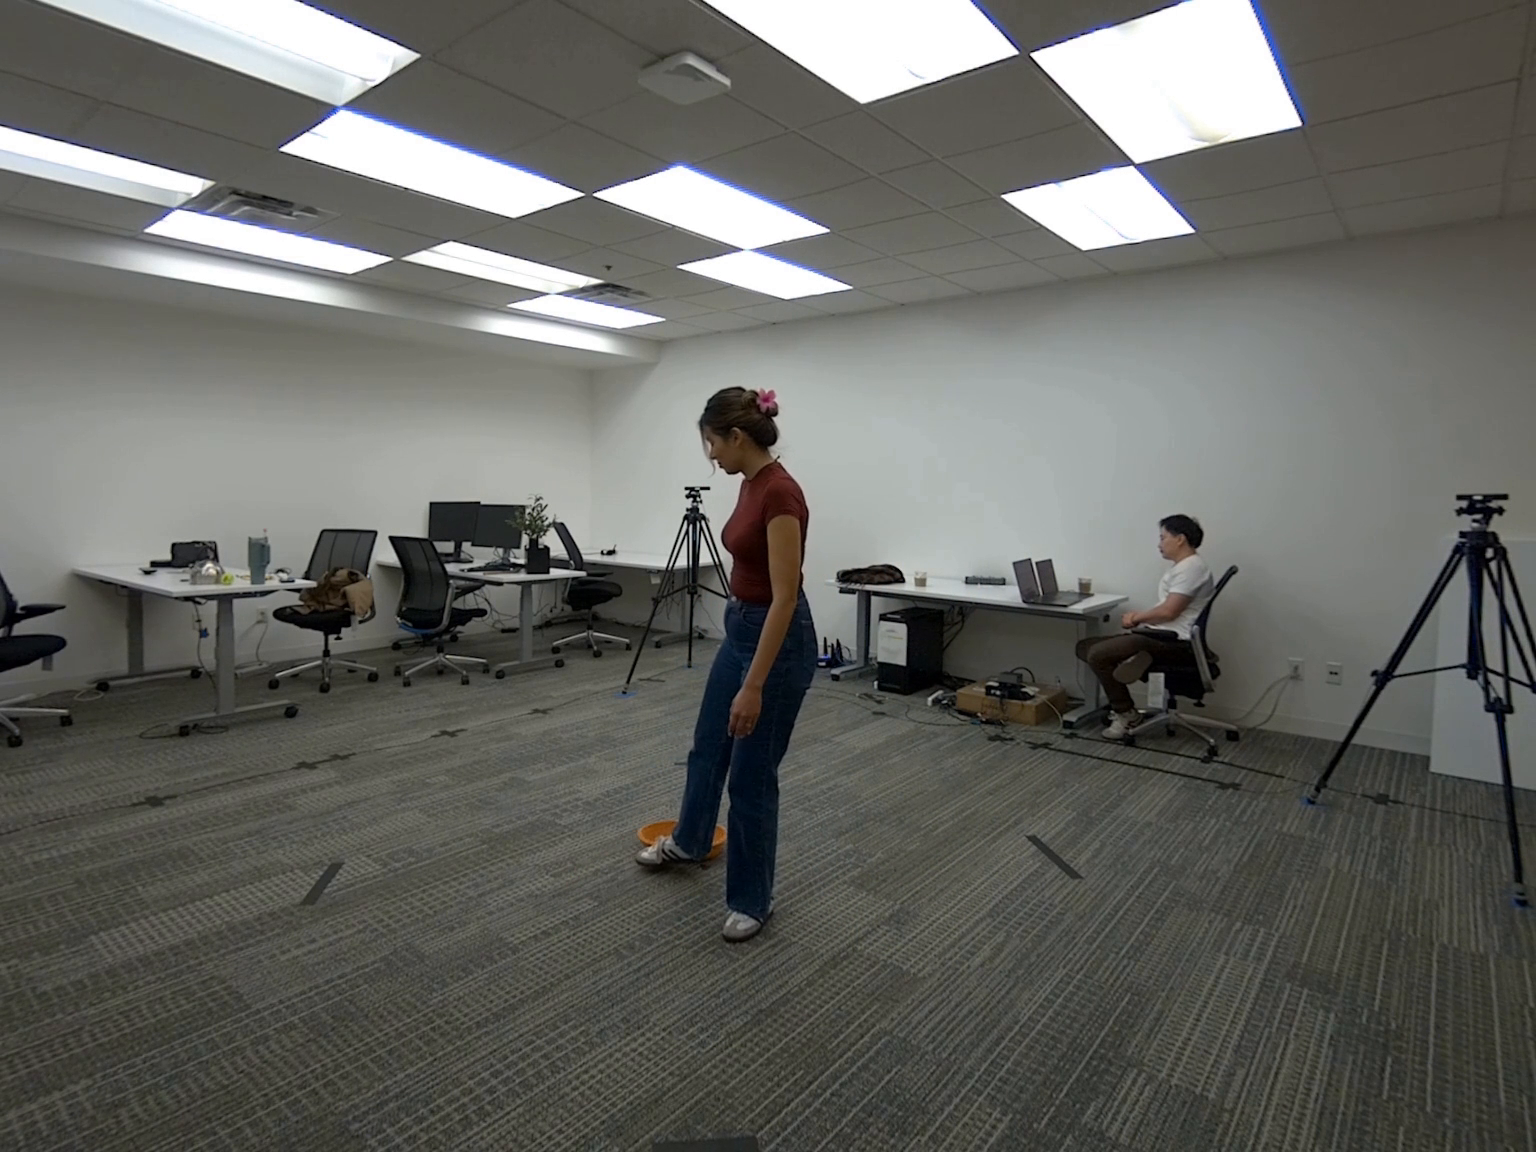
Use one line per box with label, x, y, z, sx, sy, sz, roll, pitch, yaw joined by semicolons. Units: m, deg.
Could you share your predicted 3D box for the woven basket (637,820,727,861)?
woven basket;-0.332;1.004;3.241;0.352;0.073;0.252;1;5;5
